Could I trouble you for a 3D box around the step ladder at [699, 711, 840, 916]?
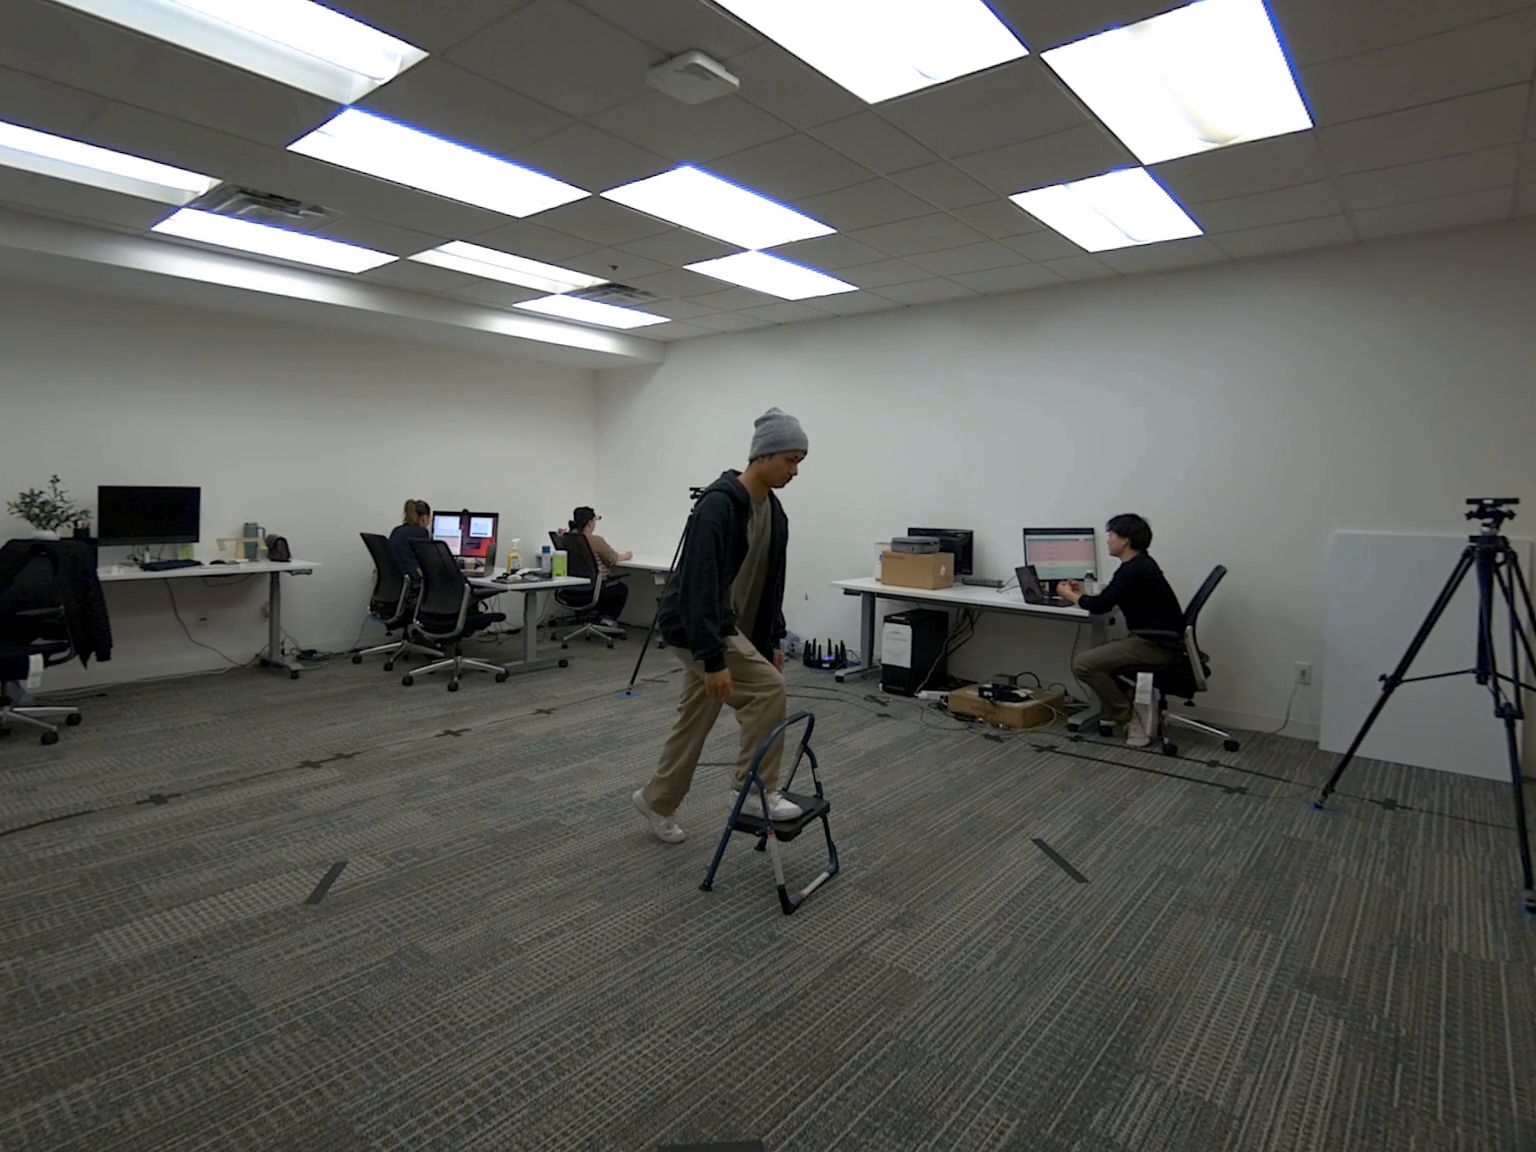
[{"bbox_3d":[0.016,0.779,3.016,0.359,0.604,0.420,3,4,29],"label":"step ladder"}]
